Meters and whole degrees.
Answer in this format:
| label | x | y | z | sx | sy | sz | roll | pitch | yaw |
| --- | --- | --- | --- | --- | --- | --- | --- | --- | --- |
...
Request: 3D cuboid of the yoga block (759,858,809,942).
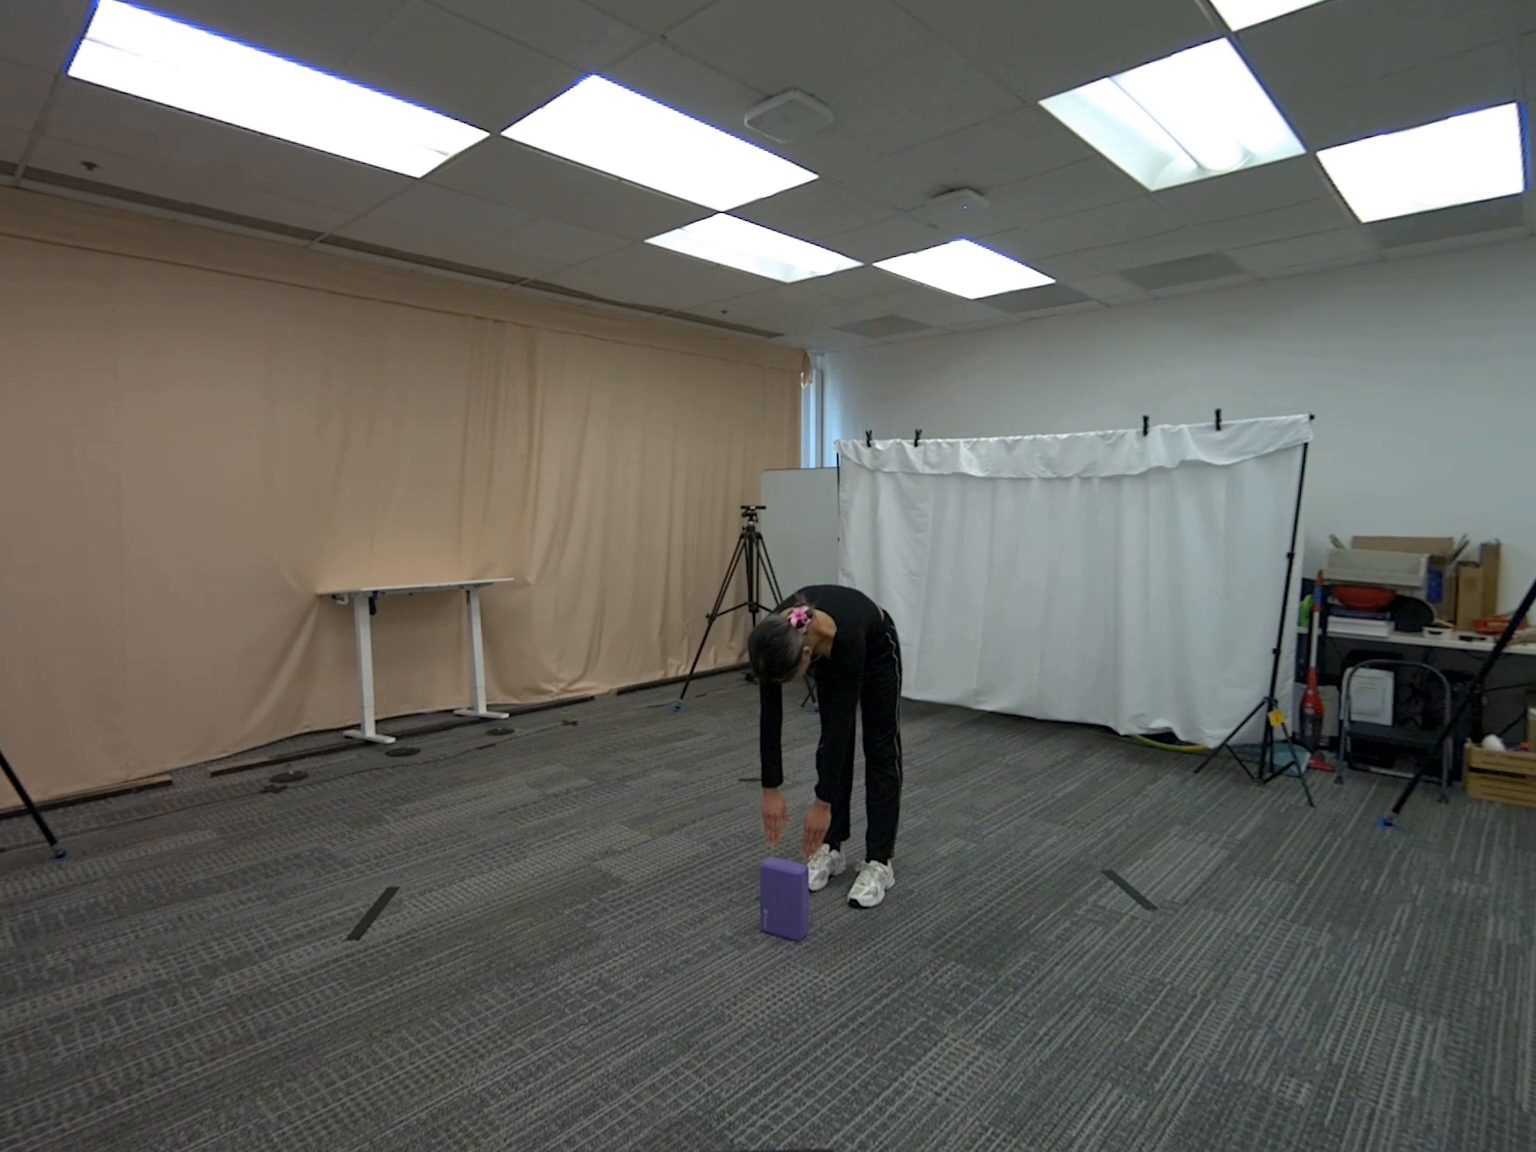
| label | x | y | z | sx | sy | sz | roll | pitch | yaw |
| --- | --- | --- | --- | --- | --- | --- | --- | --- | --- |
| yoga block | 0.058 | 1.049 | 2.737 | 0.153 | 0.229 | 0.074 | 3 | 4 | 28 |
